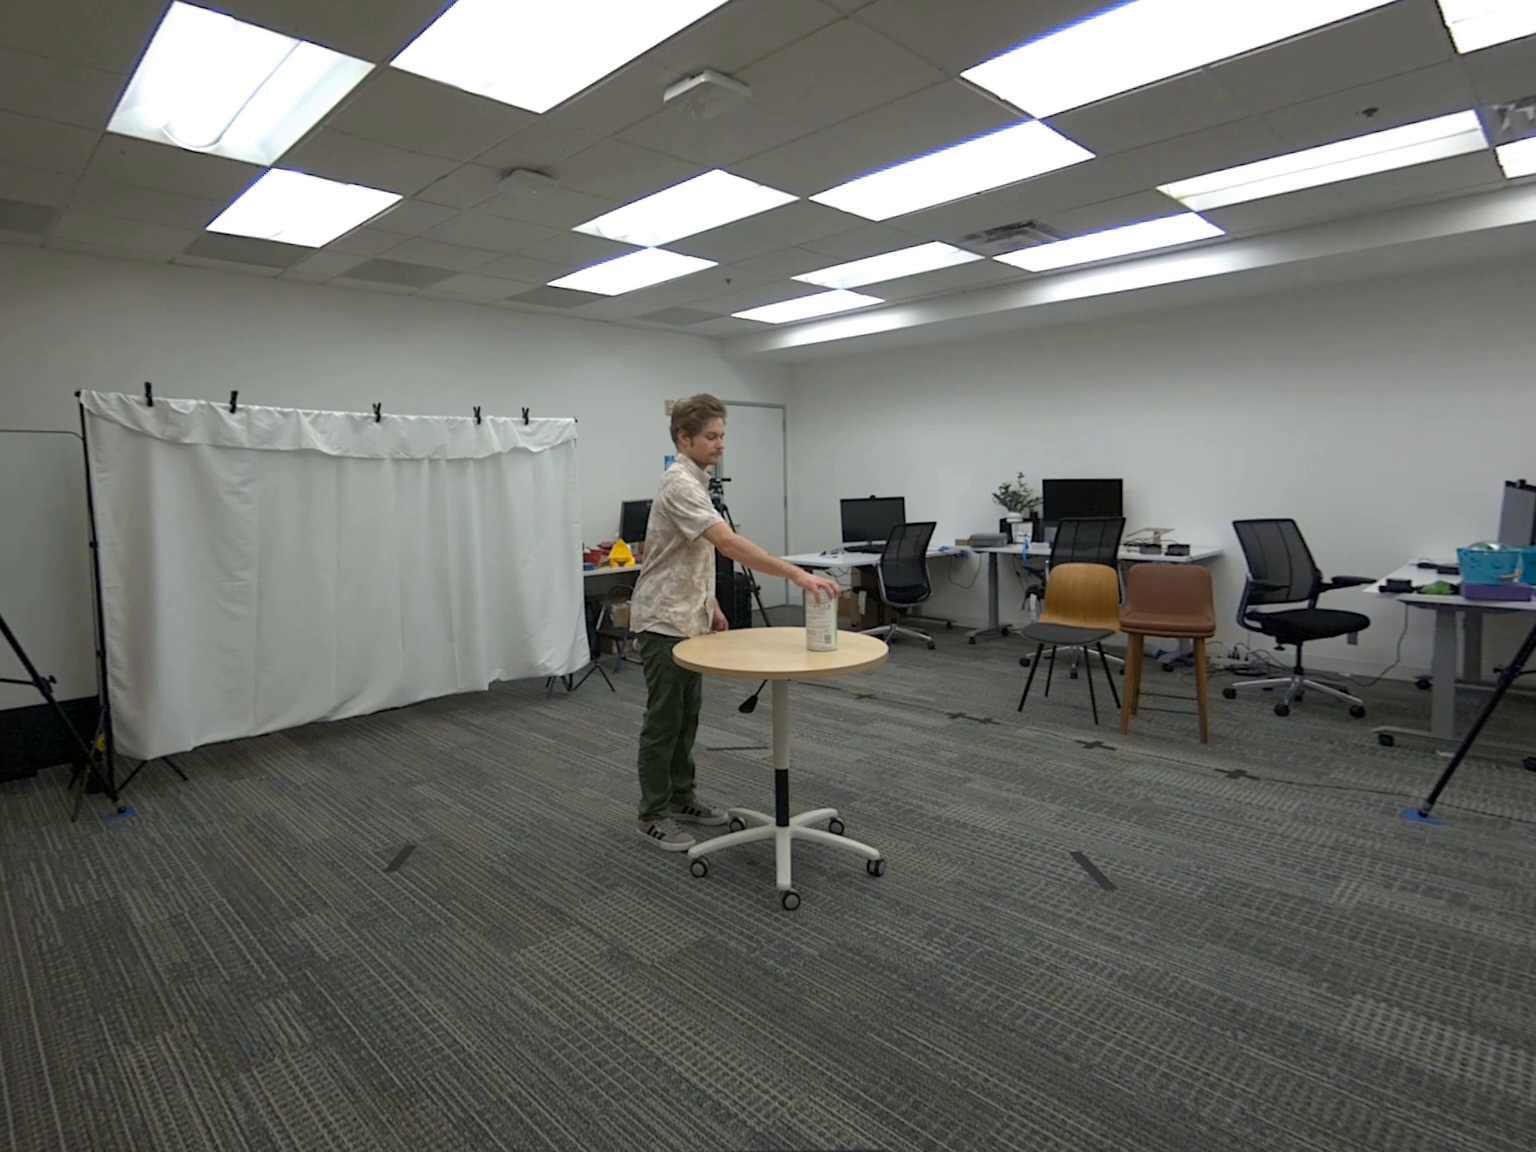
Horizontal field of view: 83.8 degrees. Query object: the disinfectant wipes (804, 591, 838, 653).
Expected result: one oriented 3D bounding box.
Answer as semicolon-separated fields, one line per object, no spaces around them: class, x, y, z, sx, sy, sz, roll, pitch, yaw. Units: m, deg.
disinfectant wipes;0.188;0.147;2.999;0.118;0.217;0.118;-3;4;-1
